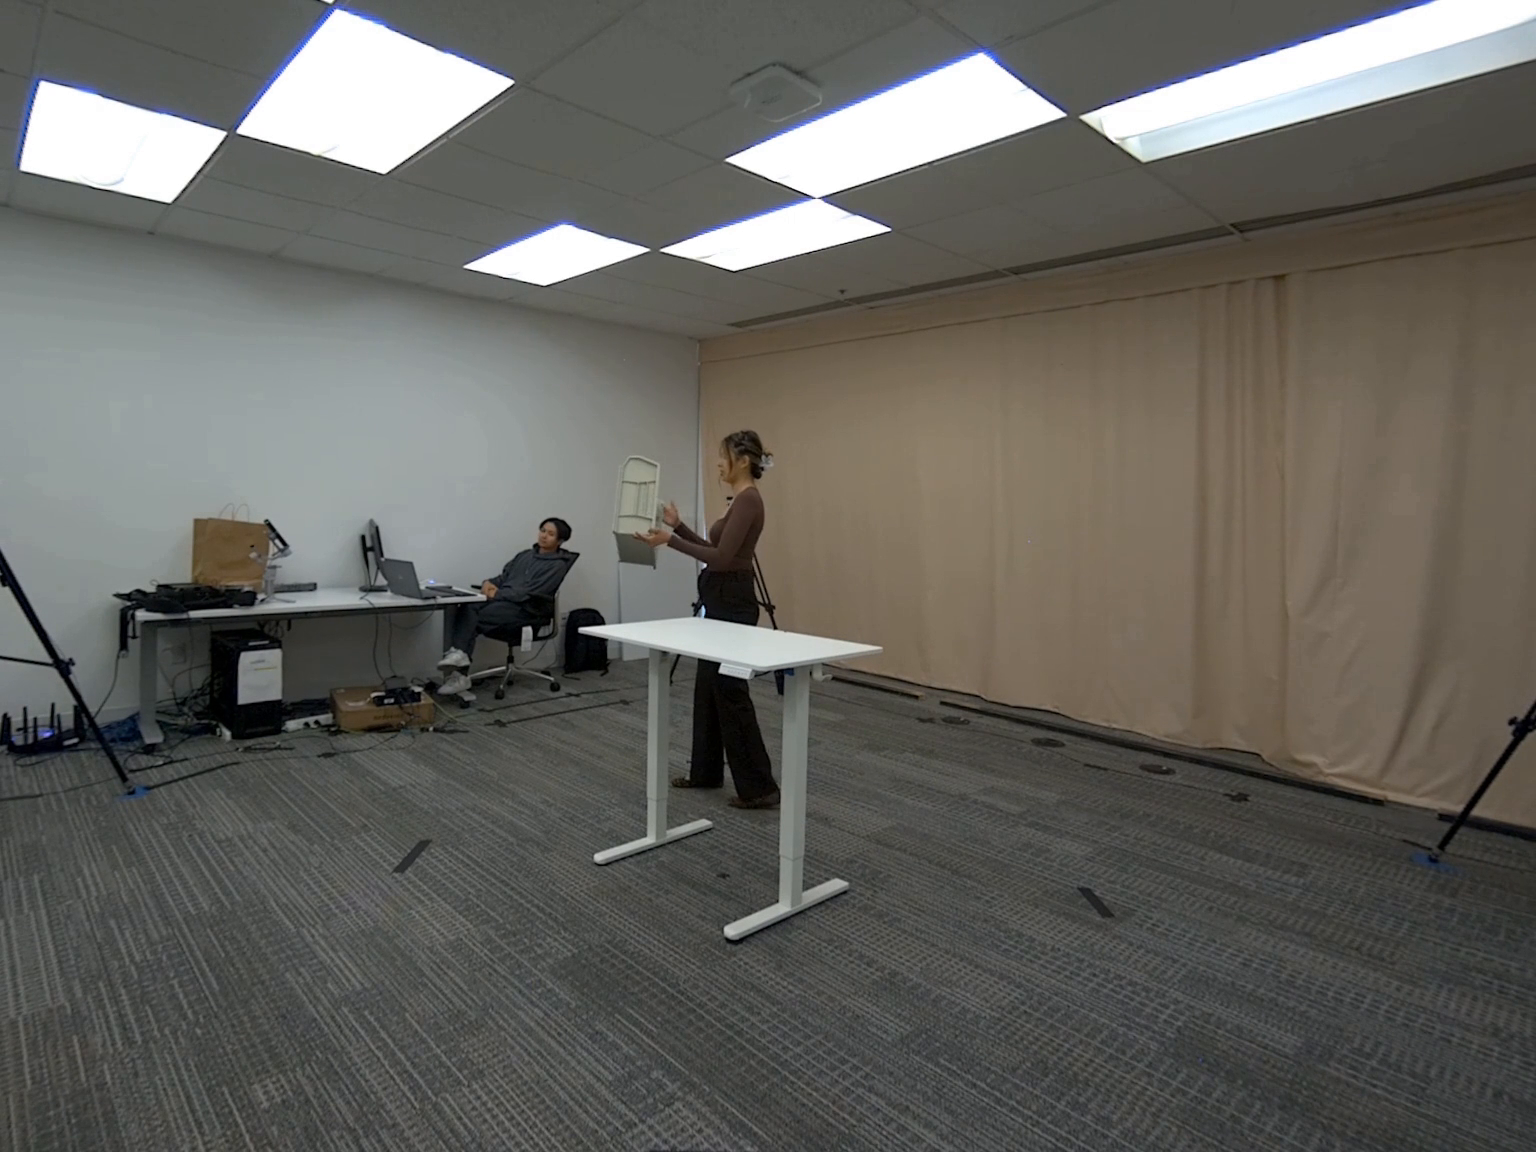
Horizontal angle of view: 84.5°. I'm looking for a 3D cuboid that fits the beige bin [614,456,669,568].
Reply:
[{"bbox_3d":[-0.579,-0.283,3.847,0.189,0.382,0.417,5,-21,-2],"label":"beige bin"}]
